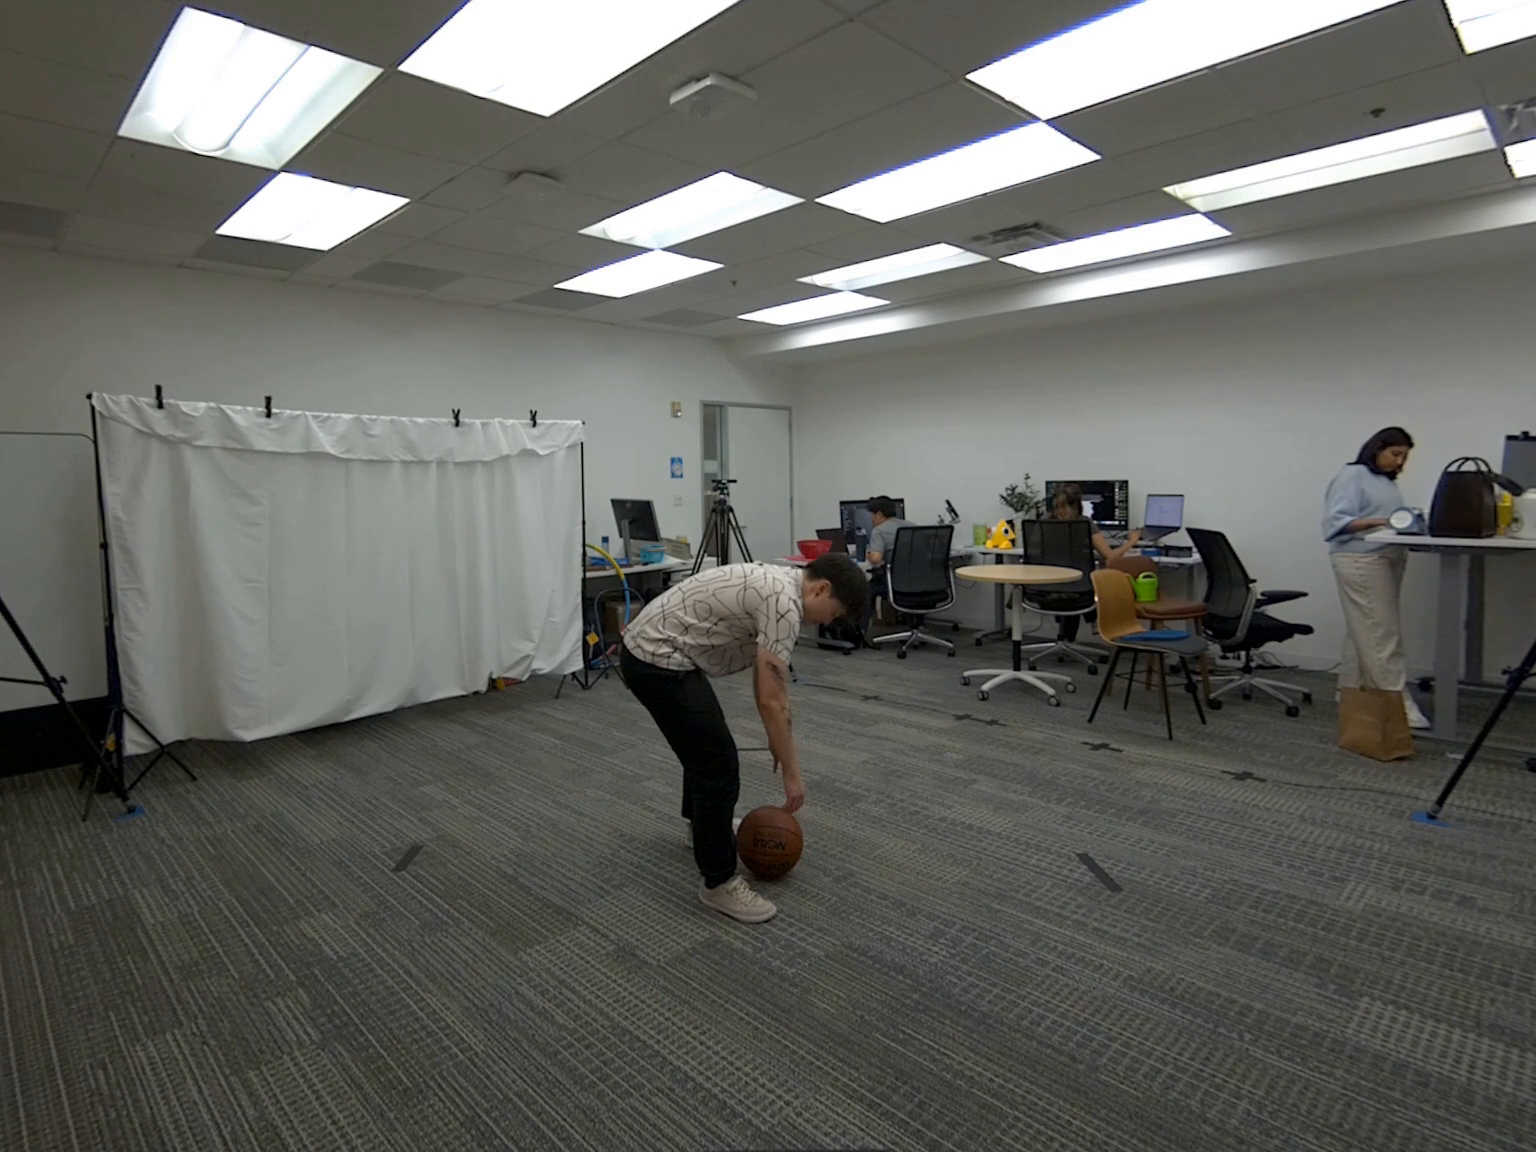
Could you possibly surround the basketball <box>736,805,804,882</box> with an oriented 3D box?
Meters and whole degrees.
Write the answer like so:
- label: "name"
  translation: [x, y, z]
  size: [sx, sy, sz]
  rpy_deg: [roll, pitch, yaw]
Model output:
- label: "basketball"
  translation: [0.007, 0.930, 3.023]
  size: [0.236, 0.235, 0.237]
  rpy_deg: [-1, 5, -2]
